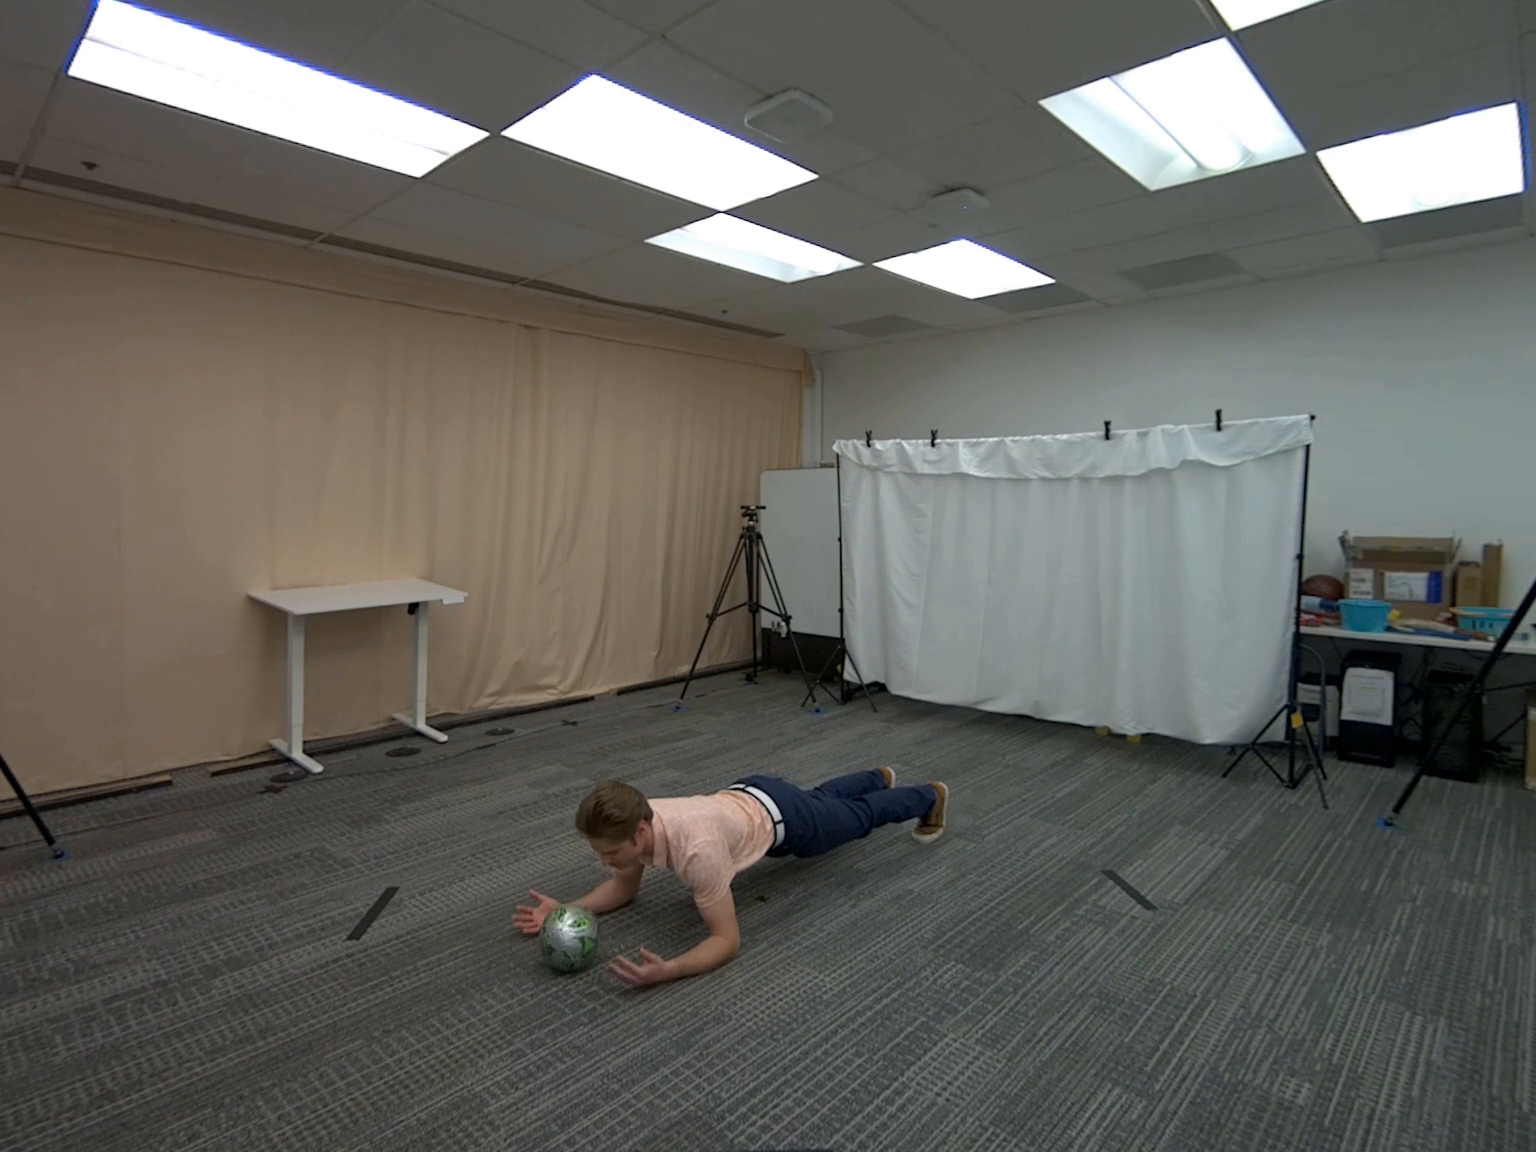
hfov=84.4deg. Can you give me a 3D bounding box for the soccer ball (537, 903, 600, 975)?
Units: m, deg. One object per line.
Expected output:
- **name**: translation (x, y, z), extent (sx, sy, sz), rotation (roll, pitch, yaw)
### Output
- **soccer ball**: translation (-0.600, 1.094, 2.543), extent (0.187, 0.187, 0.188), rotation (0, 4, -2)
